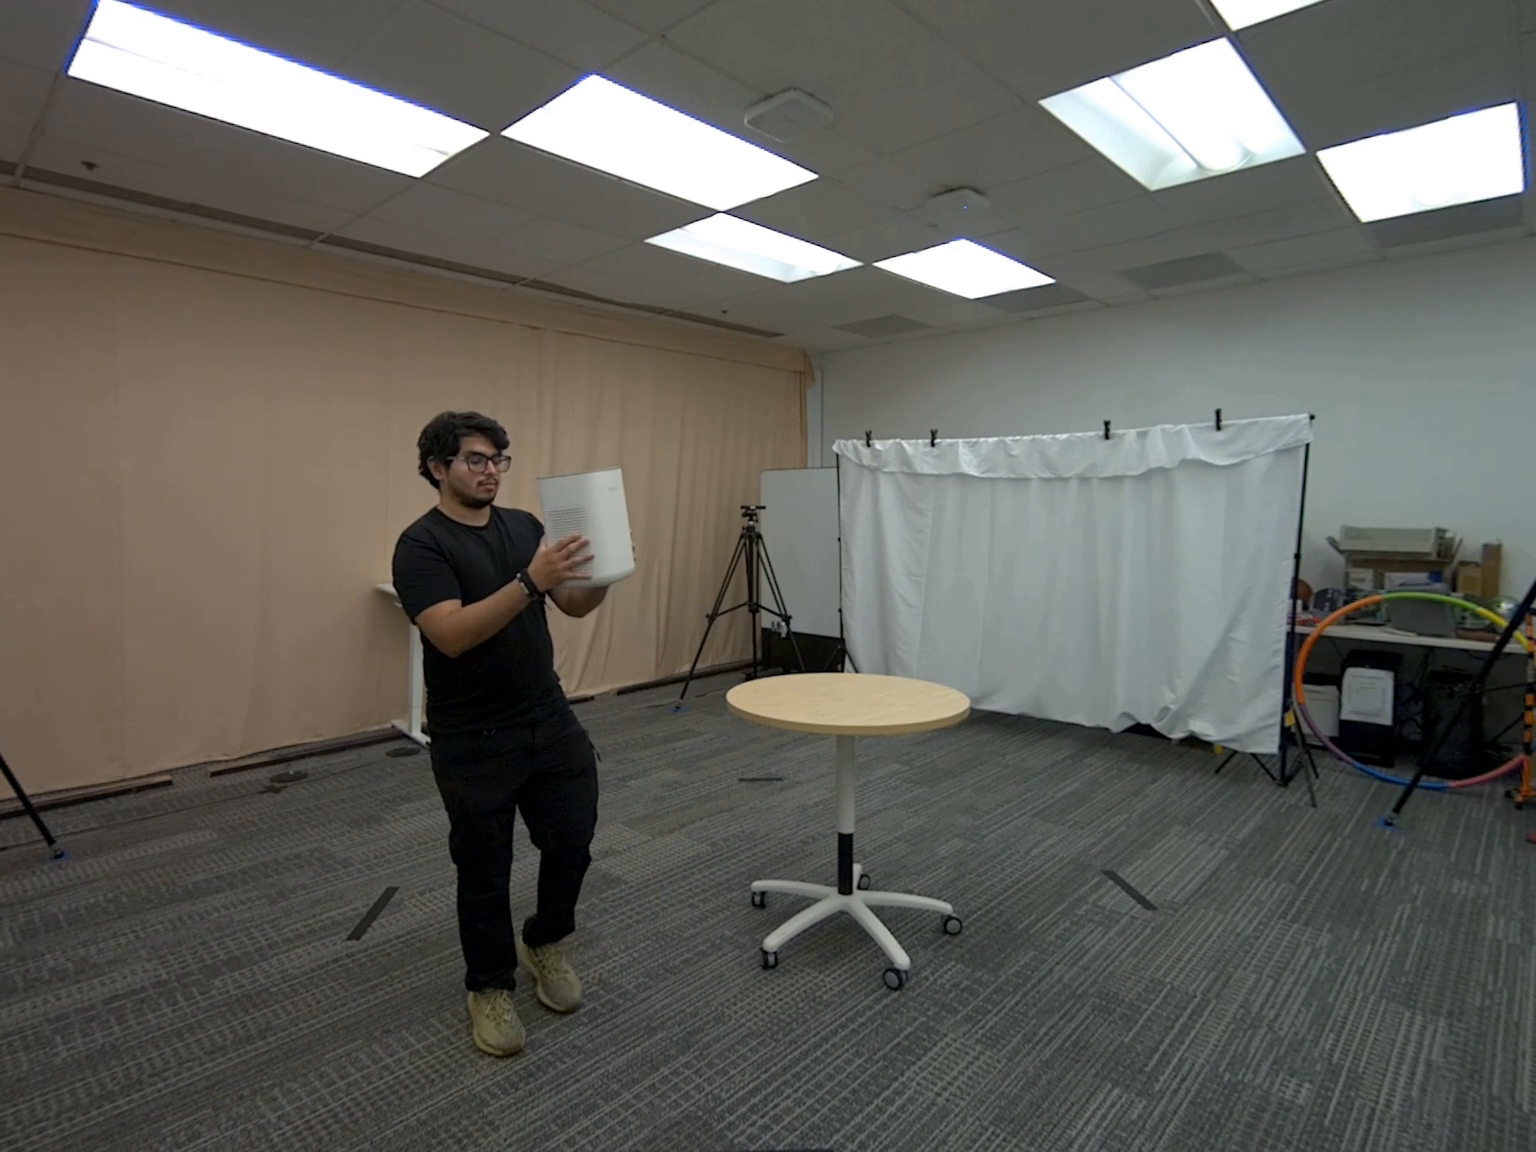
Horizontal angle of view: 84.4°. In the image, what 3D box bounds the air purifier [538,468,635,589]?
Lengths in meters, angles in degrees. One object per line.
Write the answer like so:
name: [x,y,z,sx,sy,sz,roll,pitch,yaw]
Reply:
air purifier: [-0.426,-0.113,1.966,0.174,0.264,0.169,-3,8,15]
